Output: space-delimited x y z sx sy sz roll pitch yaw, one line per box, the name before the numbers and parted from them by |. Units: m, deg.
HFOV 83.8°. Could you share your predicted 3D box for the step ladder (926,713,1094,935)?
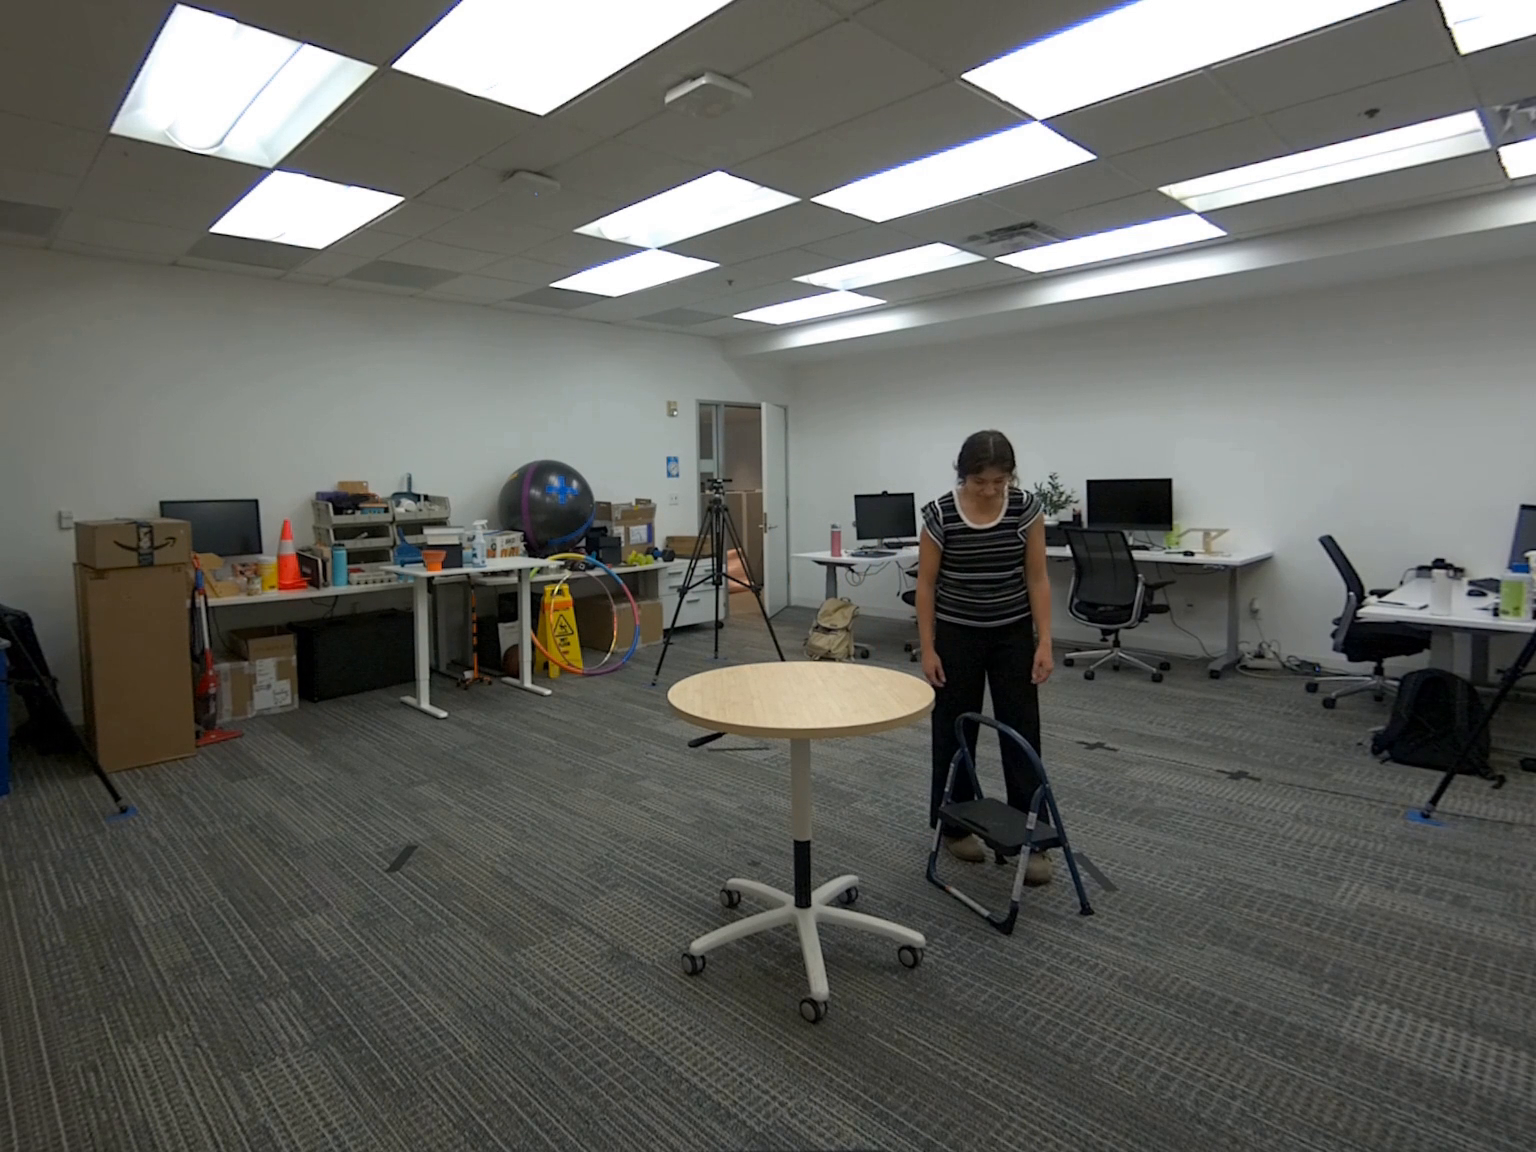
step ladder | 0.784 0.765 2.814 0.342 0.604 0.441 -3 5 -24
